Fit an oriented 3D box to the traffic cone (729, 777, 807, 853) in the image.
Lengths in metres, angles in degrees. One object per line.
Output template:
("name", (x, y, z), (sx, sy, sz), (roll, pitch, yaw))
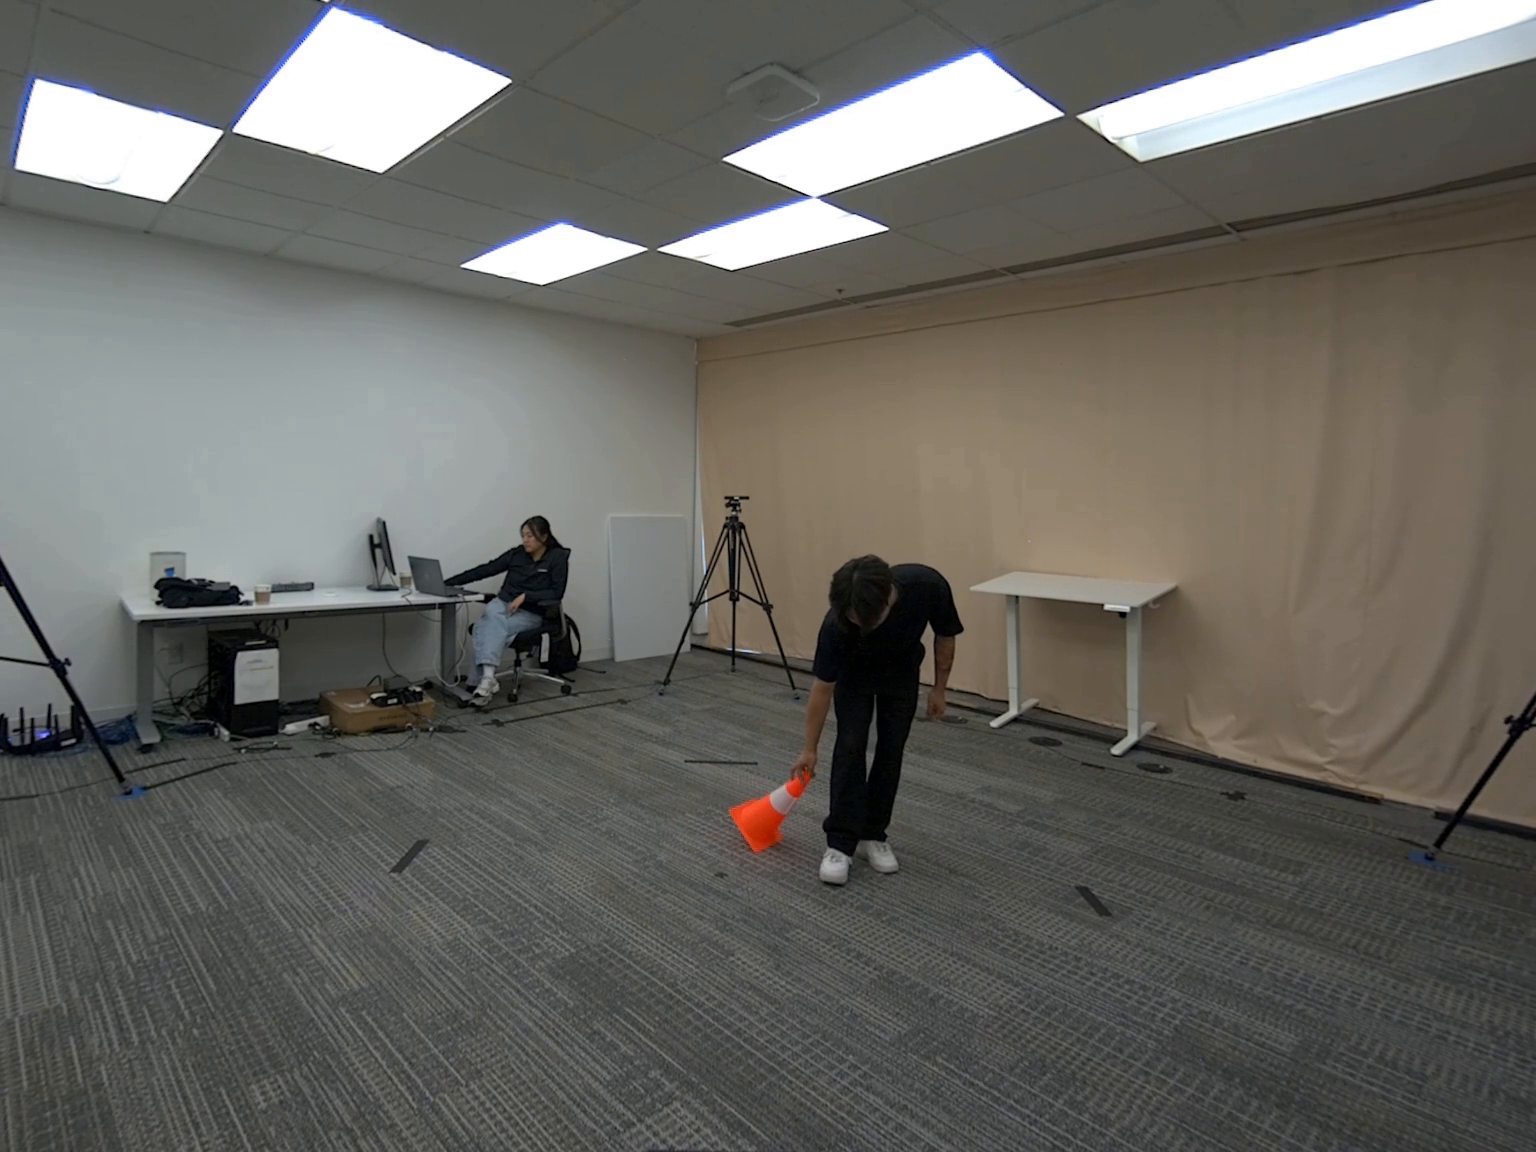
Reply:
("traffic cone", (0.056, 0.880, 3.333), (0.210, 0.383, 0.199), (50, 26, 22))
